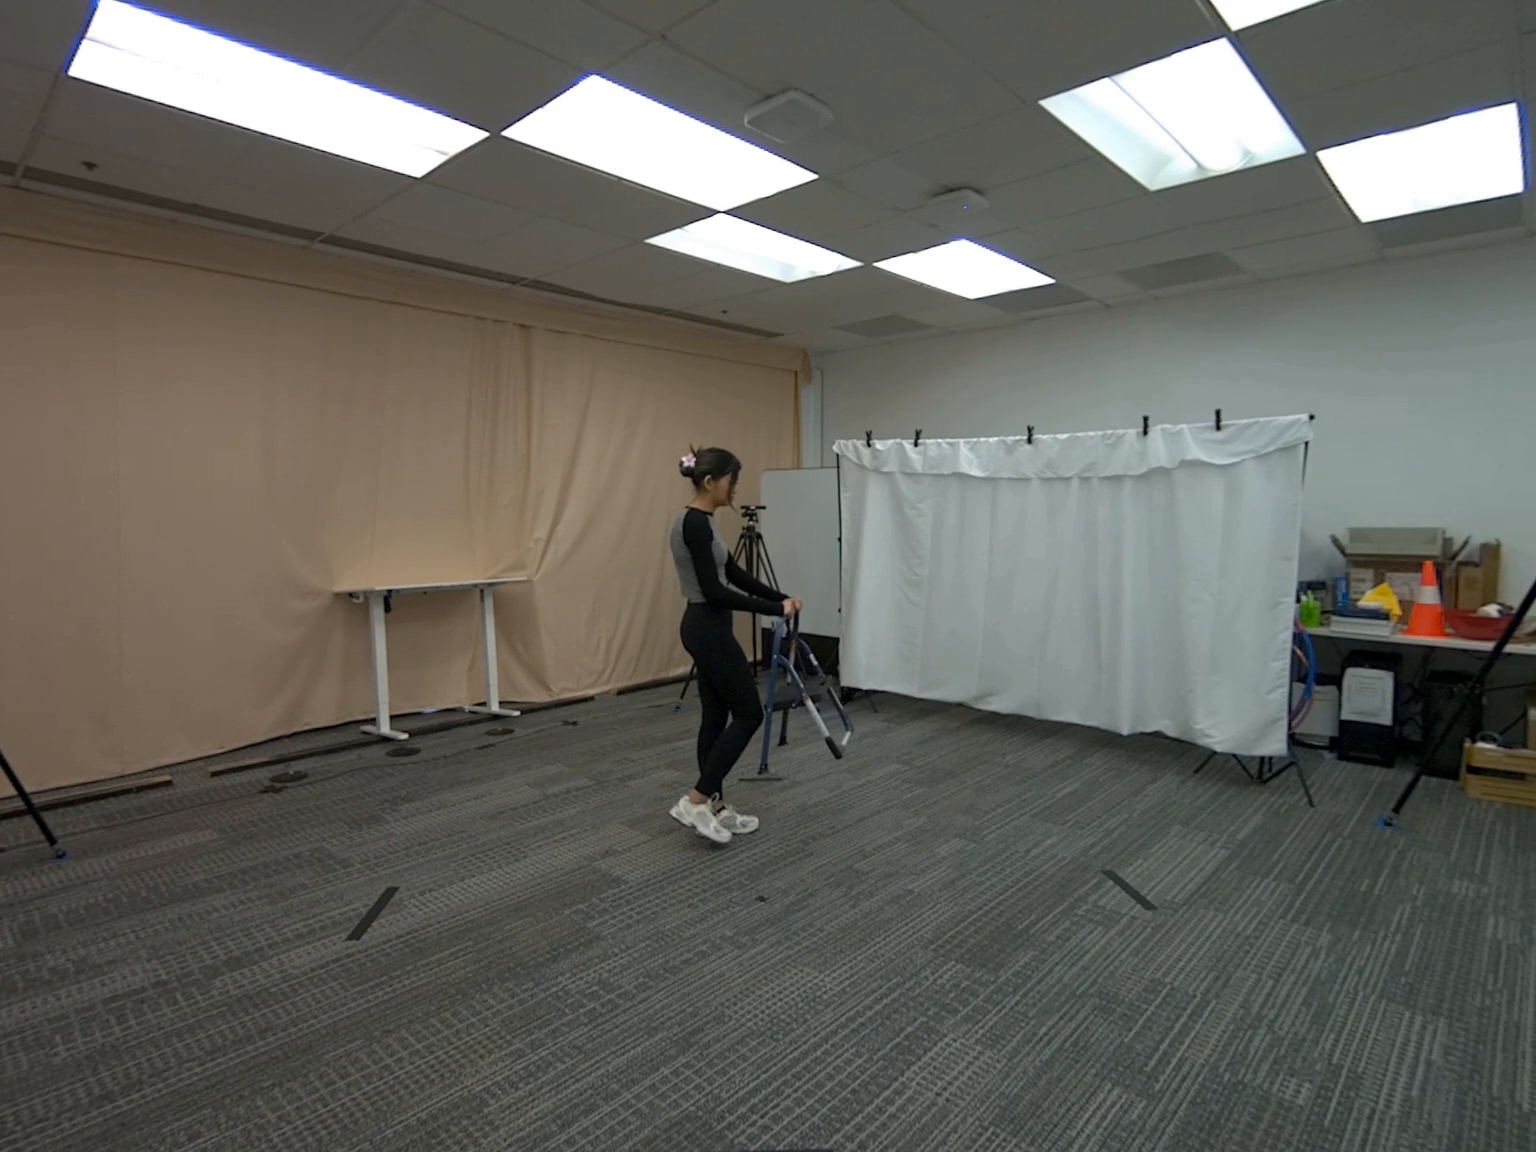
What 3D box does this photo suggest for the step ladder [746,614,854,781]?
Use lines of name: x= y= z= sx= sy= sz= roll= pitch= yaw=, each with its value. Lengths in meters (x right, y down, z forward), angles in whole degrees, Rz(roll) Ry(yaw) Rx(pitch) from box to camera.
step ladder: x=0.091 y=0.437 z=3.492 sx=0.354 sy=0.605 sz=0.425 roll=-13 pitch=3 yaw=14
